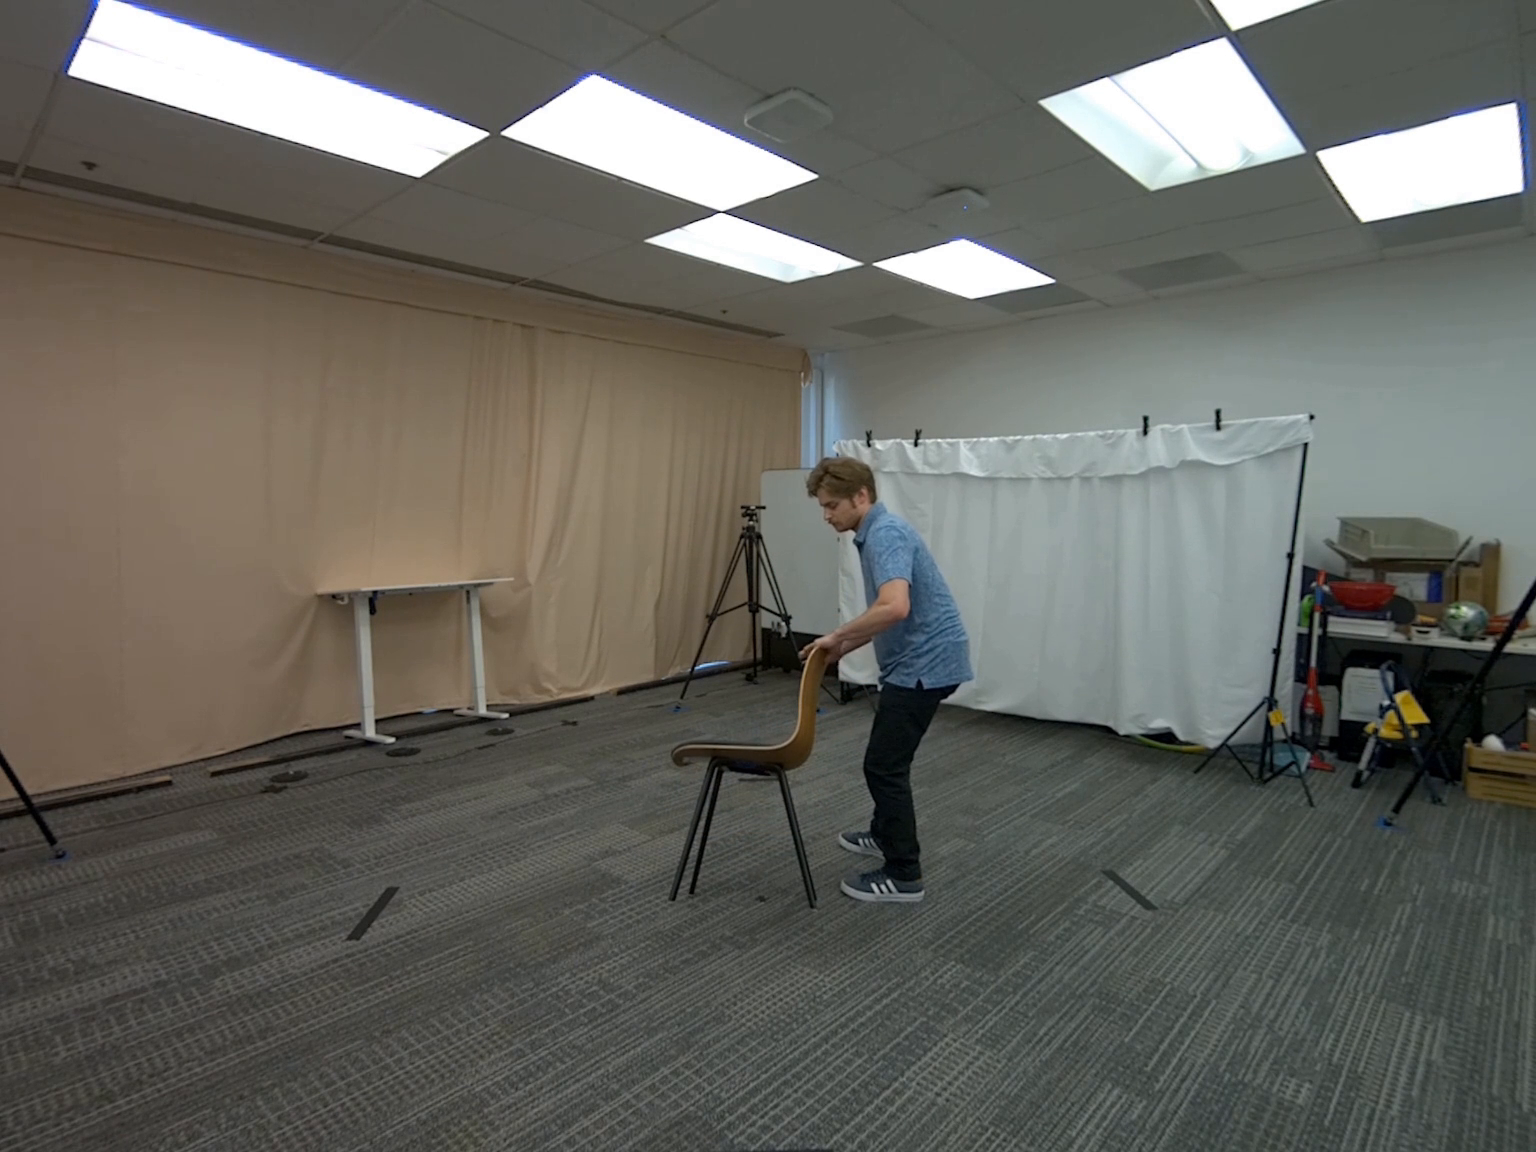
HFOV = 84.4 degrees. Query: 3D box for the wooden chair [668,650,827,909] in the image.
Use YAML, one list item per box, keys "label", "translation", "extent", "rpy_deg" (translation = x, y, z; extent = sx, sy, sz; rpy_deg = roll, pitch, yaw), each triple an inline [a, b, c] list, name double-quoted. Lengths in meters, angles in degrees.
- label: "wooden chair"
  translation: [-0.066, 0.676, 2.913]
  extent: [0.527, 0.885, 0.470]
  rpy_deg: [3, -18, 6]
